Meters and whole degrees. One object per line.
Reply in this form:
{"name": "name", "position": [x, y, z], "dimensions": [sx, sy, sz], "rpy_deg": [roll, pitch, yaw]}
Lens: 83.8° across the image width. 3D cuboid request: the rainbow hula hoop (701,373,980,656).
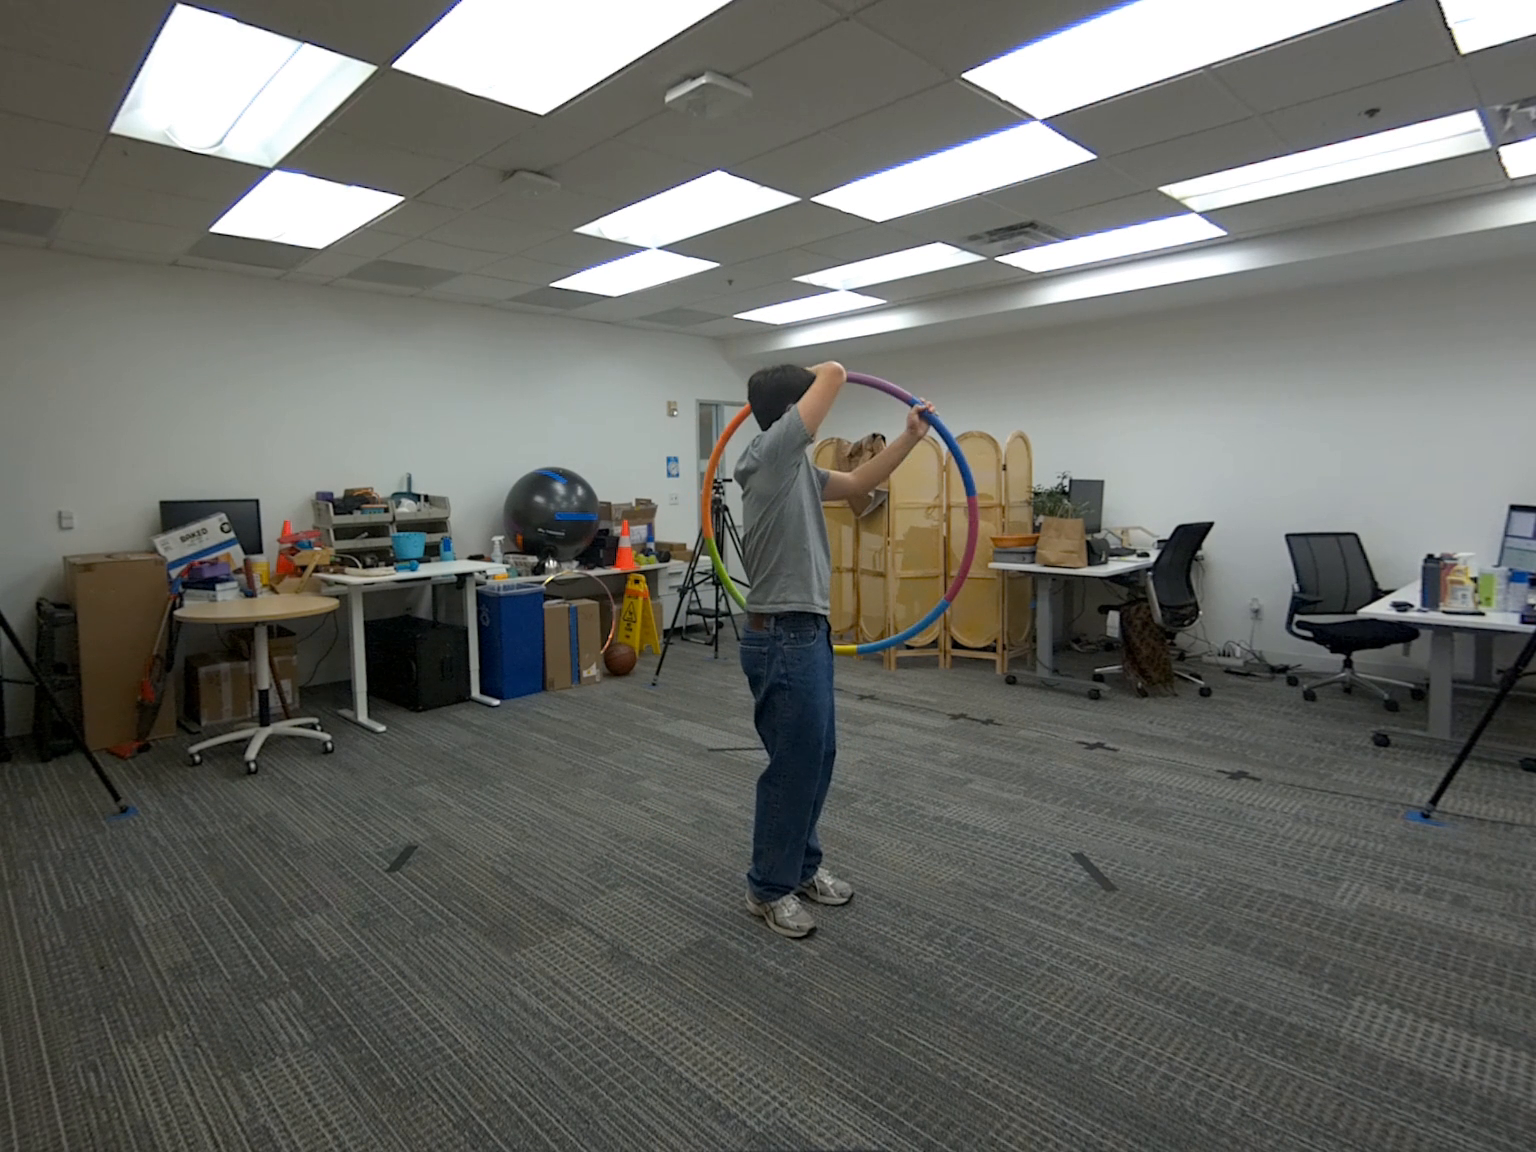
{"name": "rainbow hula hoop", "position": [0.209, -0.206, 2.956], "dimensions": [1.000, 0.970, 0.035], "rpy_deg": [1, 9, 23]}
